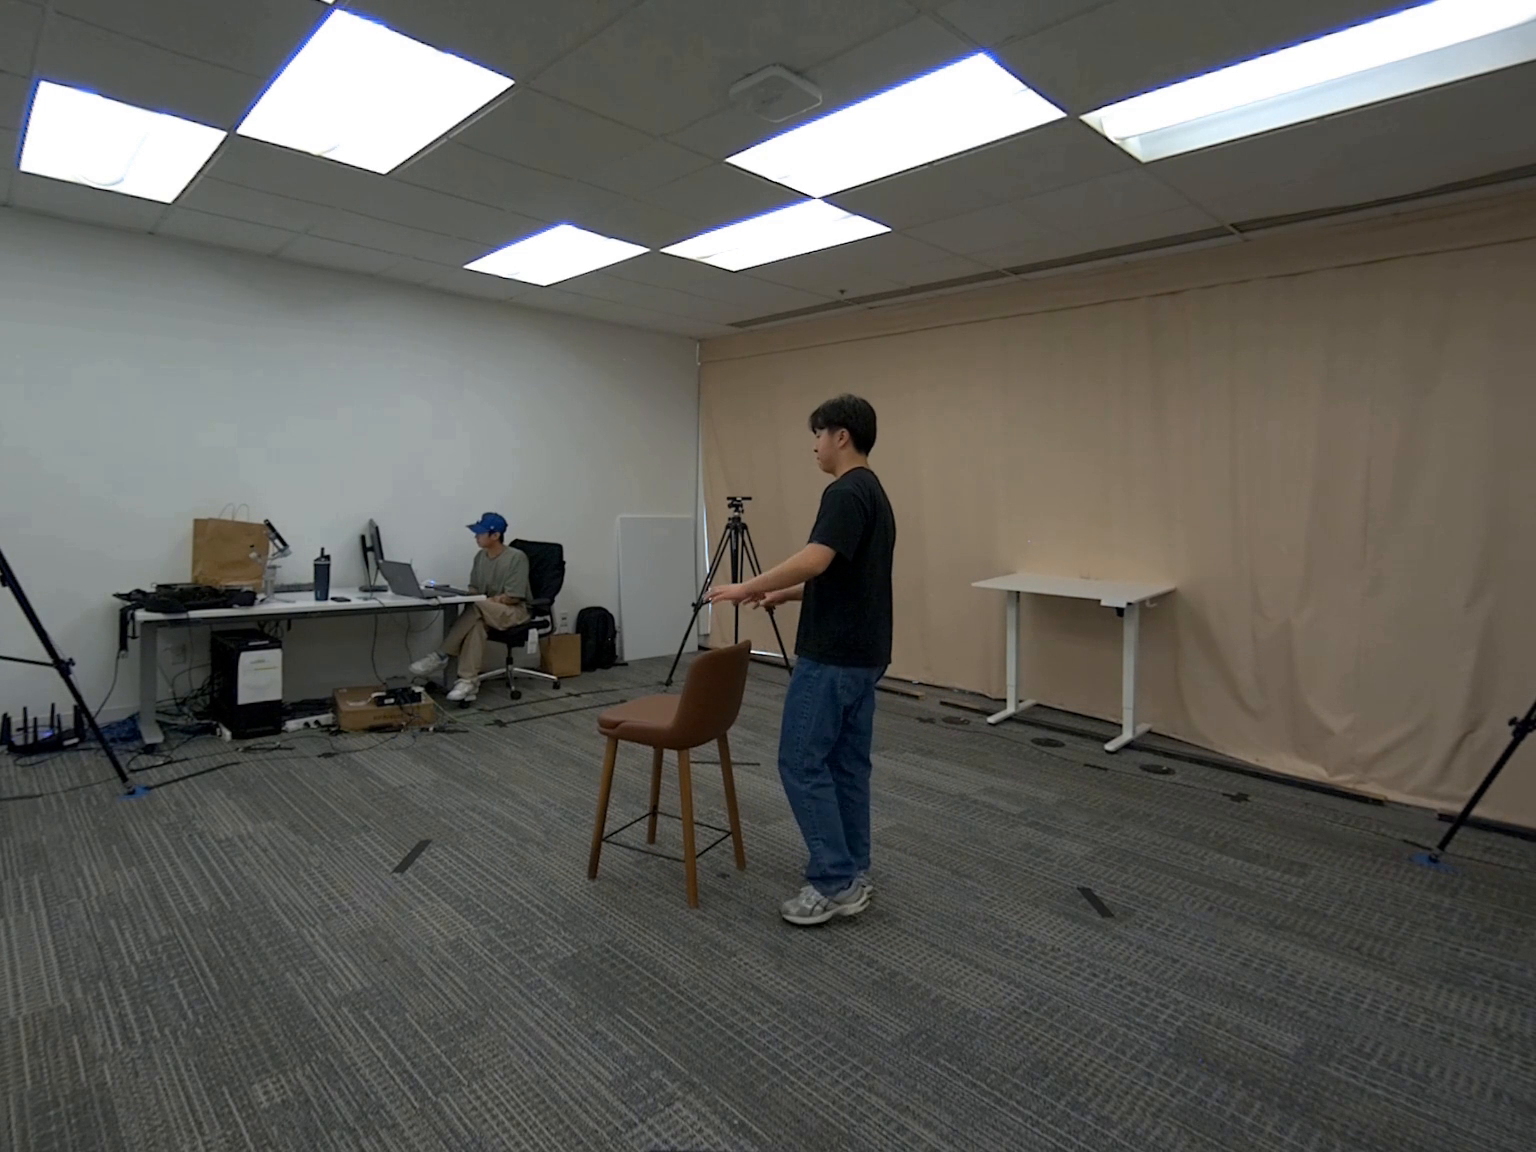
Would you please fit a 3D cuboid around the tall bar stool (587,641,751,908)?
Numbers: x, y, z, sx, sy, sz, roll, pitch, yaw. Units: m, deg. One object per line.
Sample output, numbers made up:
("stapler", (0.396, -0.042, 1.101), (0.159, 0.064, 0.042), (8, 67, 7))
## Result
("tall bar stool", (-0.346, 0.662, 3.089), (0.478, 0.887, 0.448), (6, 6, 29))
